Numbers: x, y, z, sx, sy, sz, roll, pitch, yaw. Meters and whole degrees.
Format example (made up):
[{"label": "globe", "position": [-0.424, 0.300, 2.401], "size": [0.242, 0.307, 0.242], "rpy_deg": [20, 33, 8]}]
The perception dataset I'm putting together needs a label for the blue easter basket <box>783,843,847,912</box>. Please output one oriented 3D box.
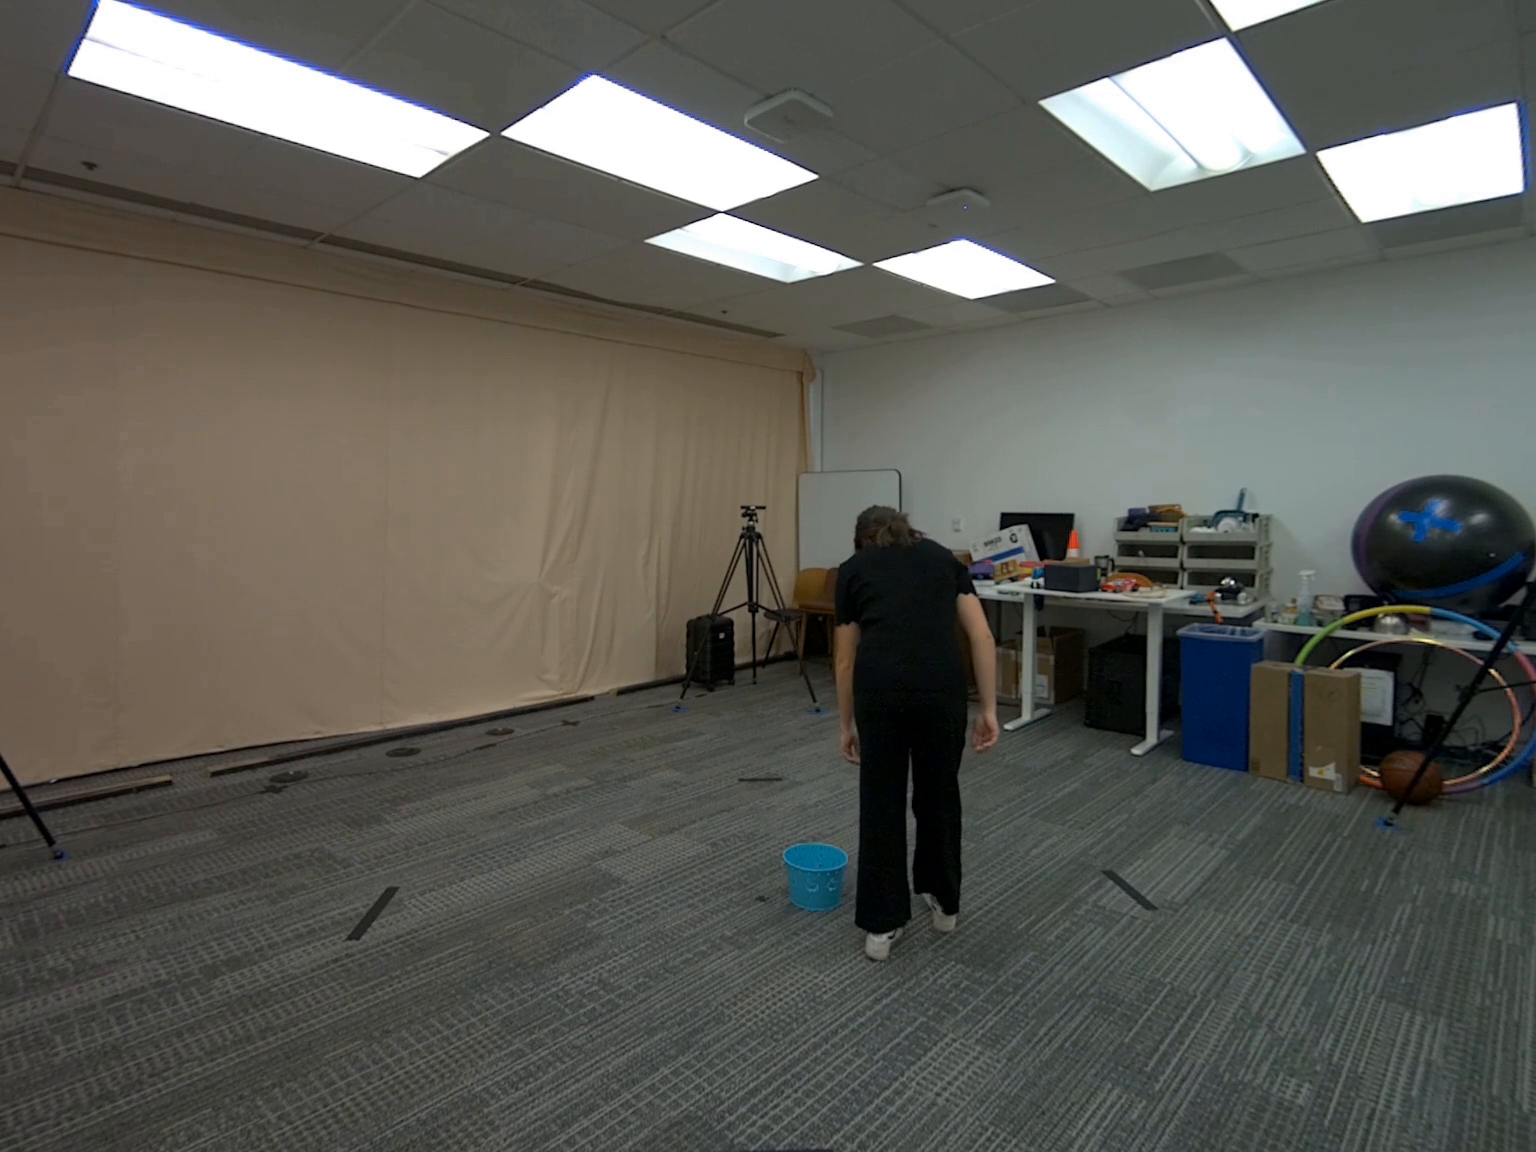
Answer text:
[{"label": "blue easter basket", "position": [0.170, 1.062, 2.983], "size": [0.243, 0.155, 0.244], "rpy_deg": [0, 4, -2]}]
